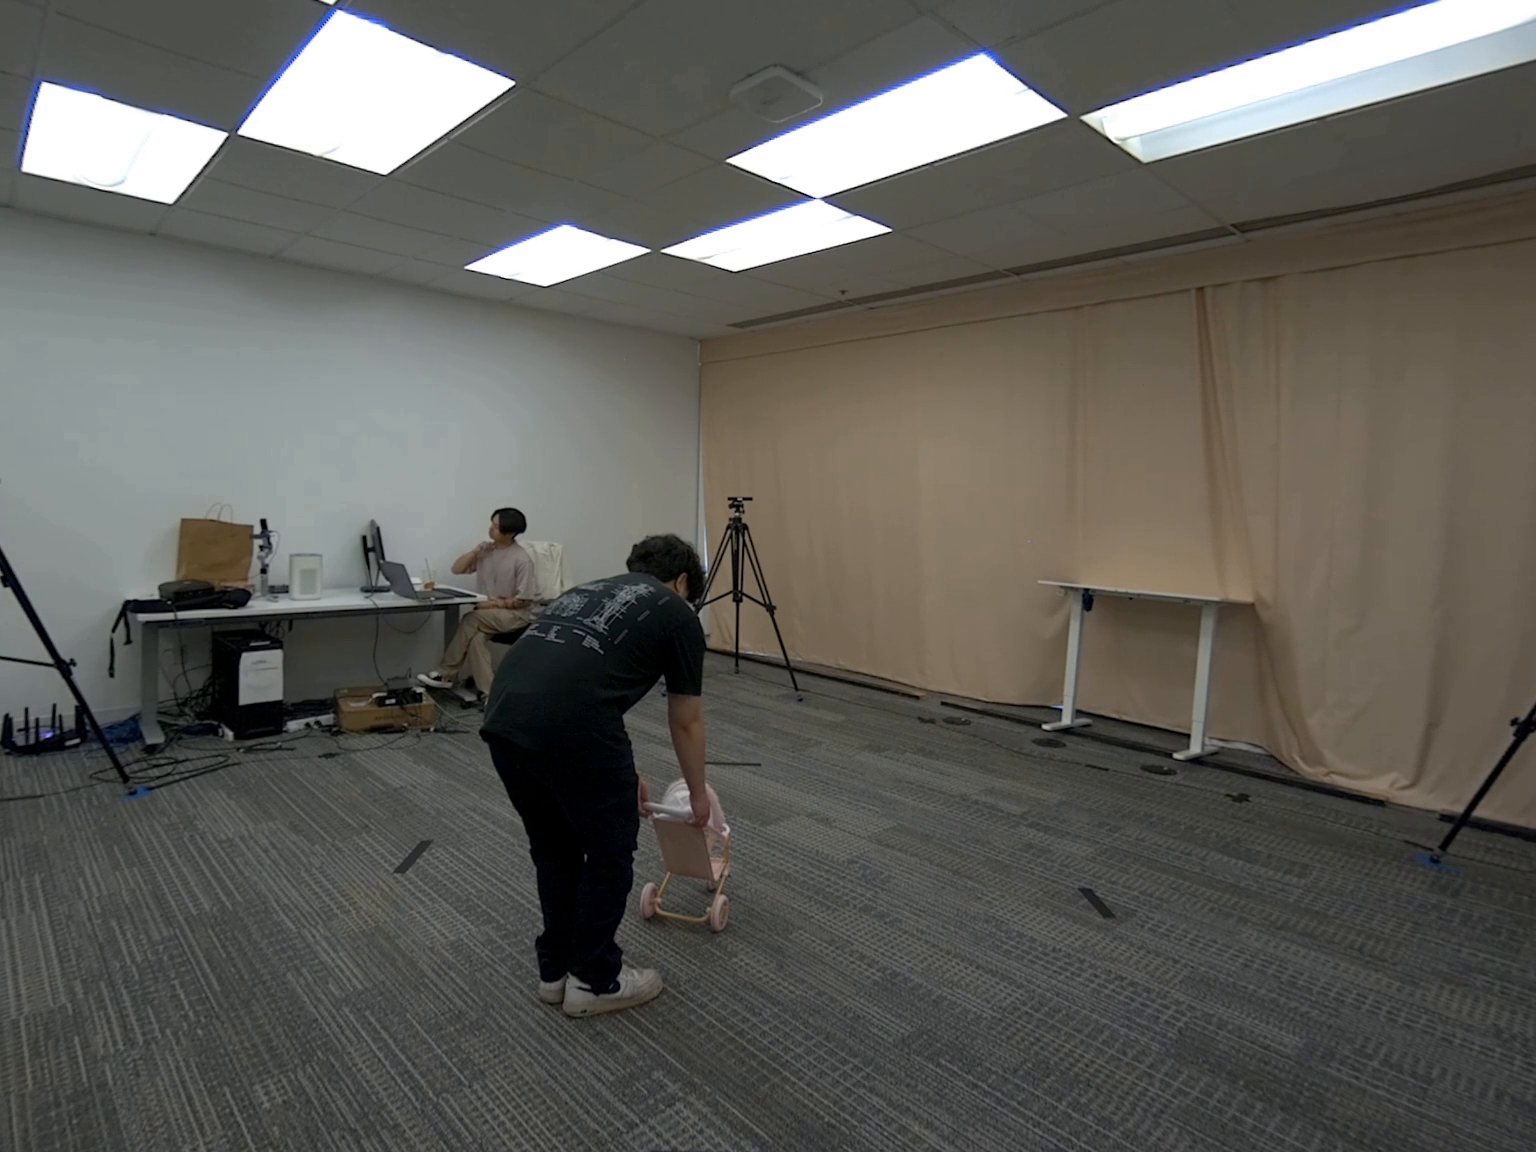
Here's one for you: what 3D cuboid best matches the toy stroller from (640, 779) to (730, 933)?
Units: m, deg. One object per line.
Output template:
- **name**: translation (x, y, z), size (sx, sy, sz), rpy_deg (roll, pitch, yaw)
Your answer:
- **toy stroller**: translation (-0.253, 0.909, 2.801), size (0.286, 0.528, 0.340), rpy_deg (4, 19, 21)
